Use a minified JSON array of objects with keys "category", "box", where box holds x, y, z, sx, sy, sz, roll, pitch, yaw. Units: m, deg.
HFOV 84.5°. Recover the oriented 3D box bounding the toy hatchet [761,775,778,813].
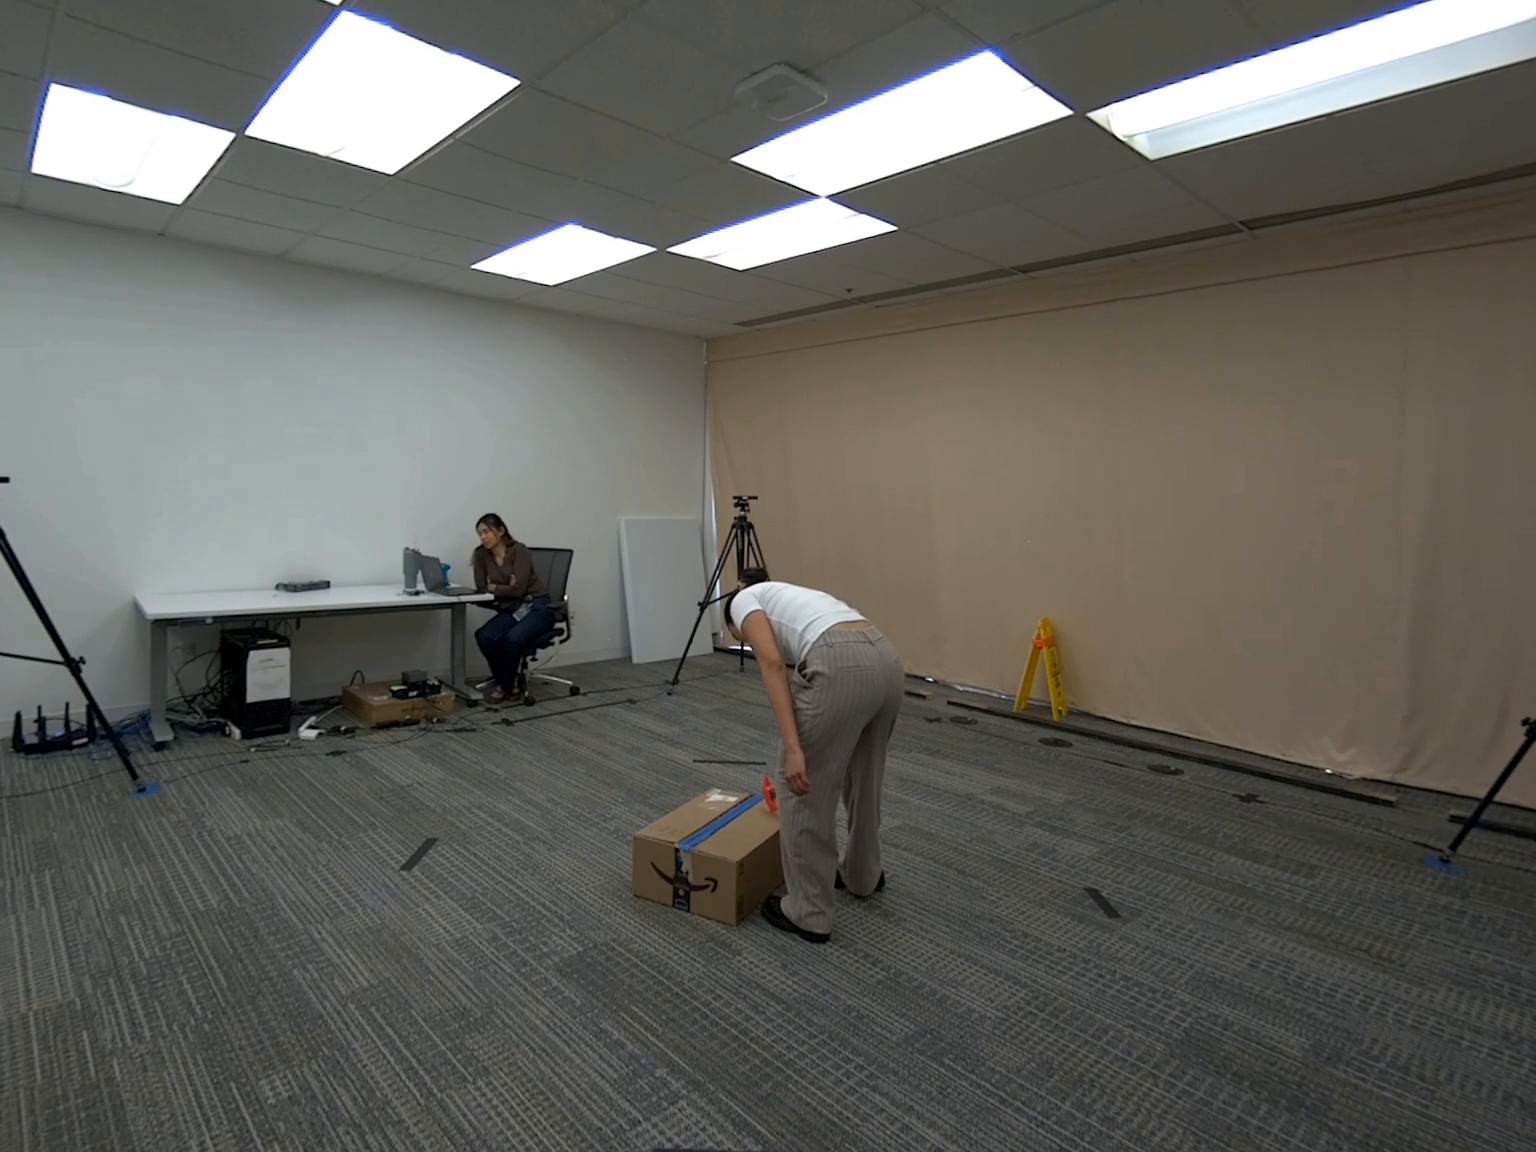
[{"category":"toy hatchet","box":[0.060,0.846,3.070,0.029,0.129,0.278,-7,23,-38]}]
